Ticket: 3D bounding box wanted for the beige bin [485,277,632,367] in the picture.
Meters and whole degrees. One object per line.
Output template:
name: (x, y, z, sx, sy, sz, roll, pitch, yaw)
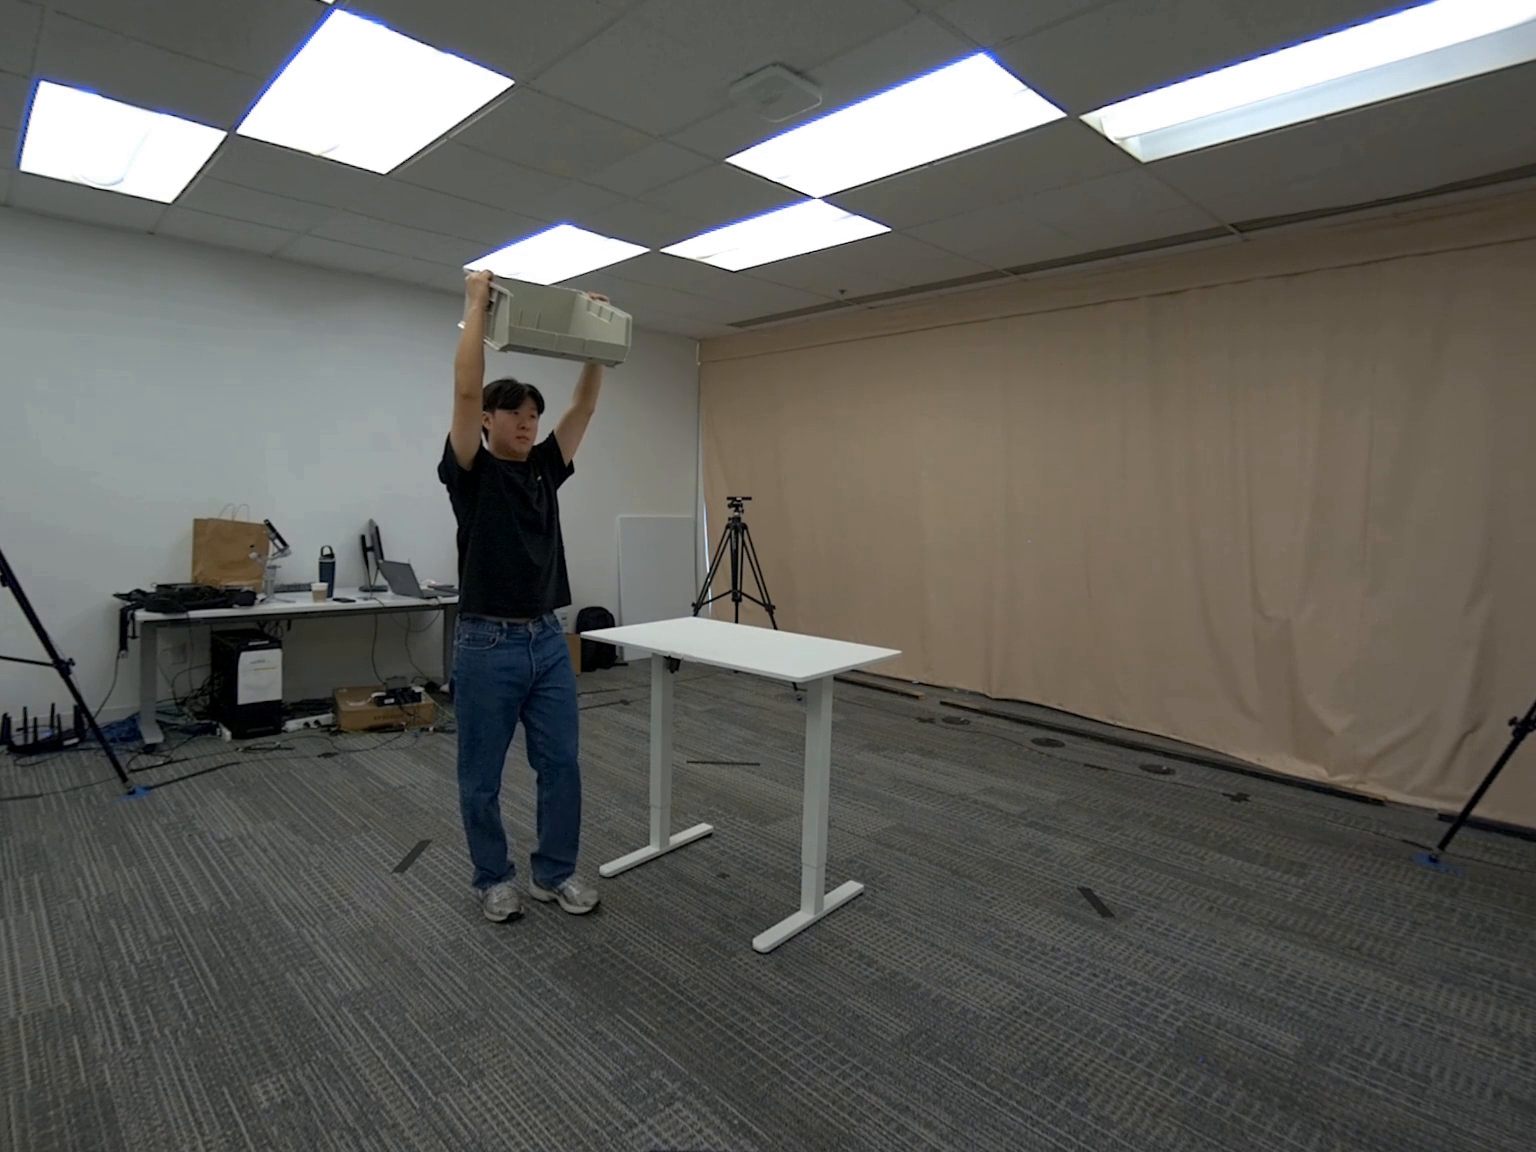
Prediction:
beige bin: (-0.702, -0.801, 2.663, 0.413, 0.187, 0.389, -3, 27, -41)
